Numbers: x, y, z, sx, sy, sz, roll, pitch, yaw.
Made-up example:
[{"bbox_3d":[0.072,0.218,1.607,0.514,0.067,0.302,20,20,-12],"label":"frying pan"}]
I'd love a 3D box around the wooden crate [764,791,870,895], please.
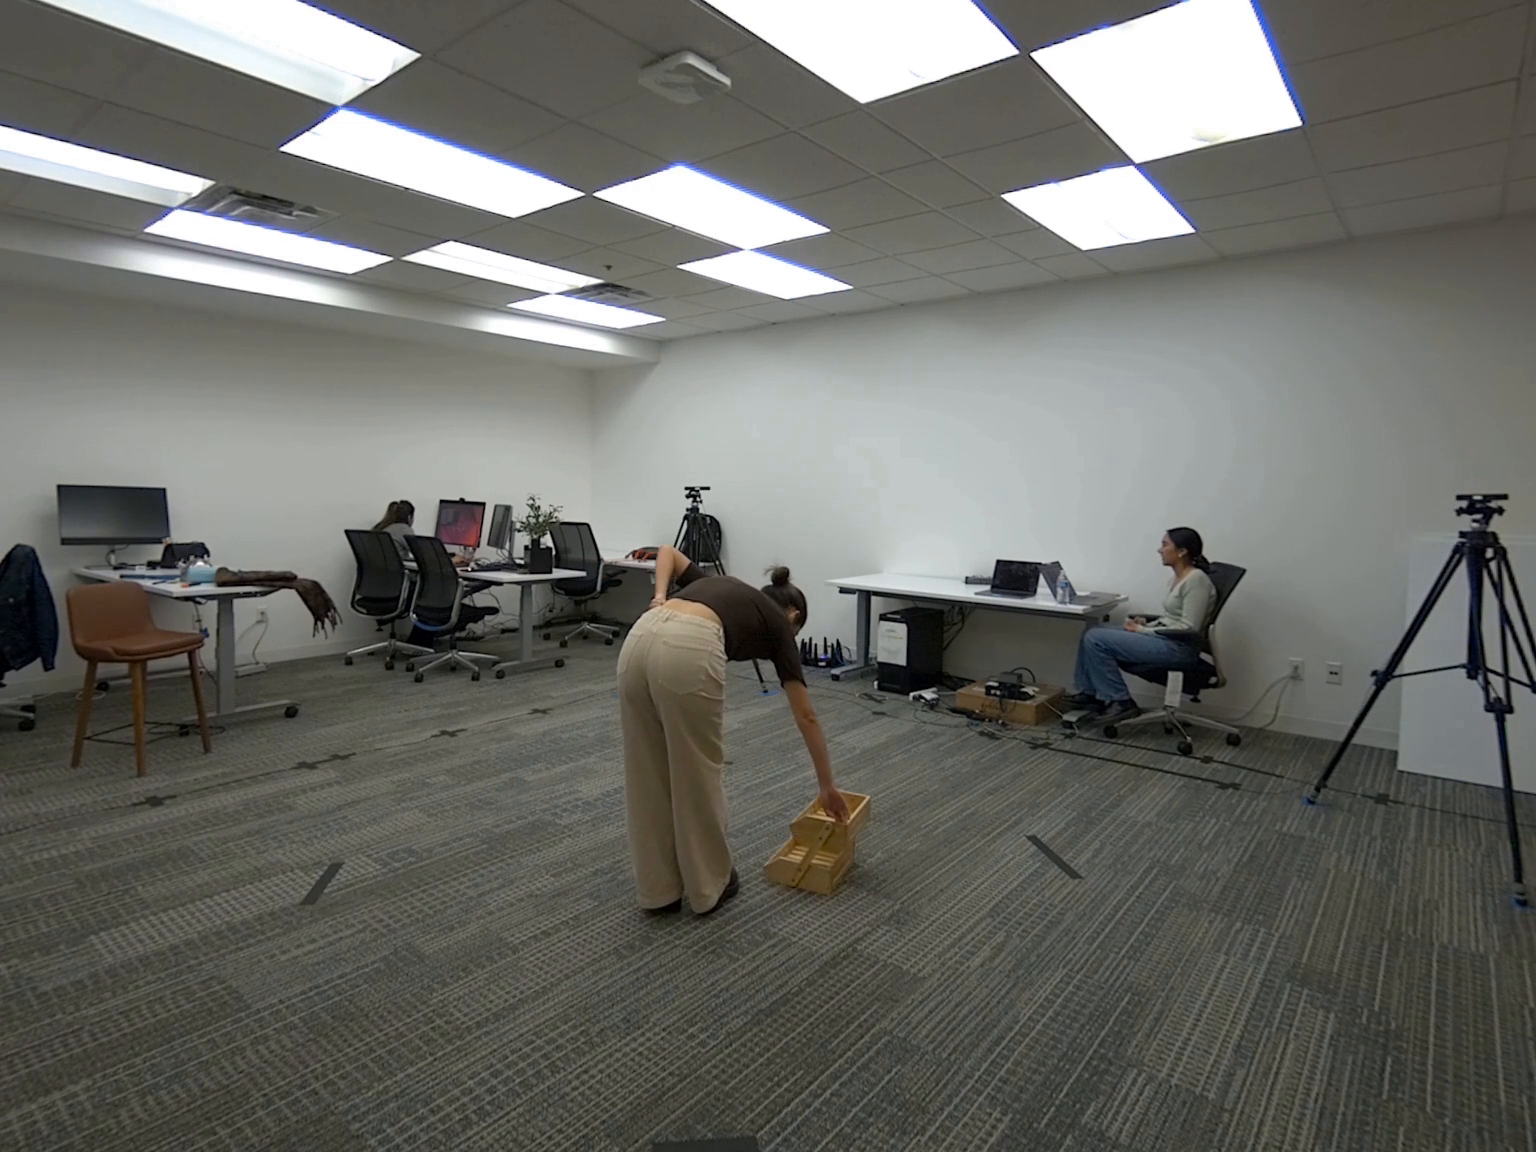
[{"bbox_3d":[0.168,0.939,3.081,0.310,0.272,0.318,4,6,23],"label":"wooden crate"}]
